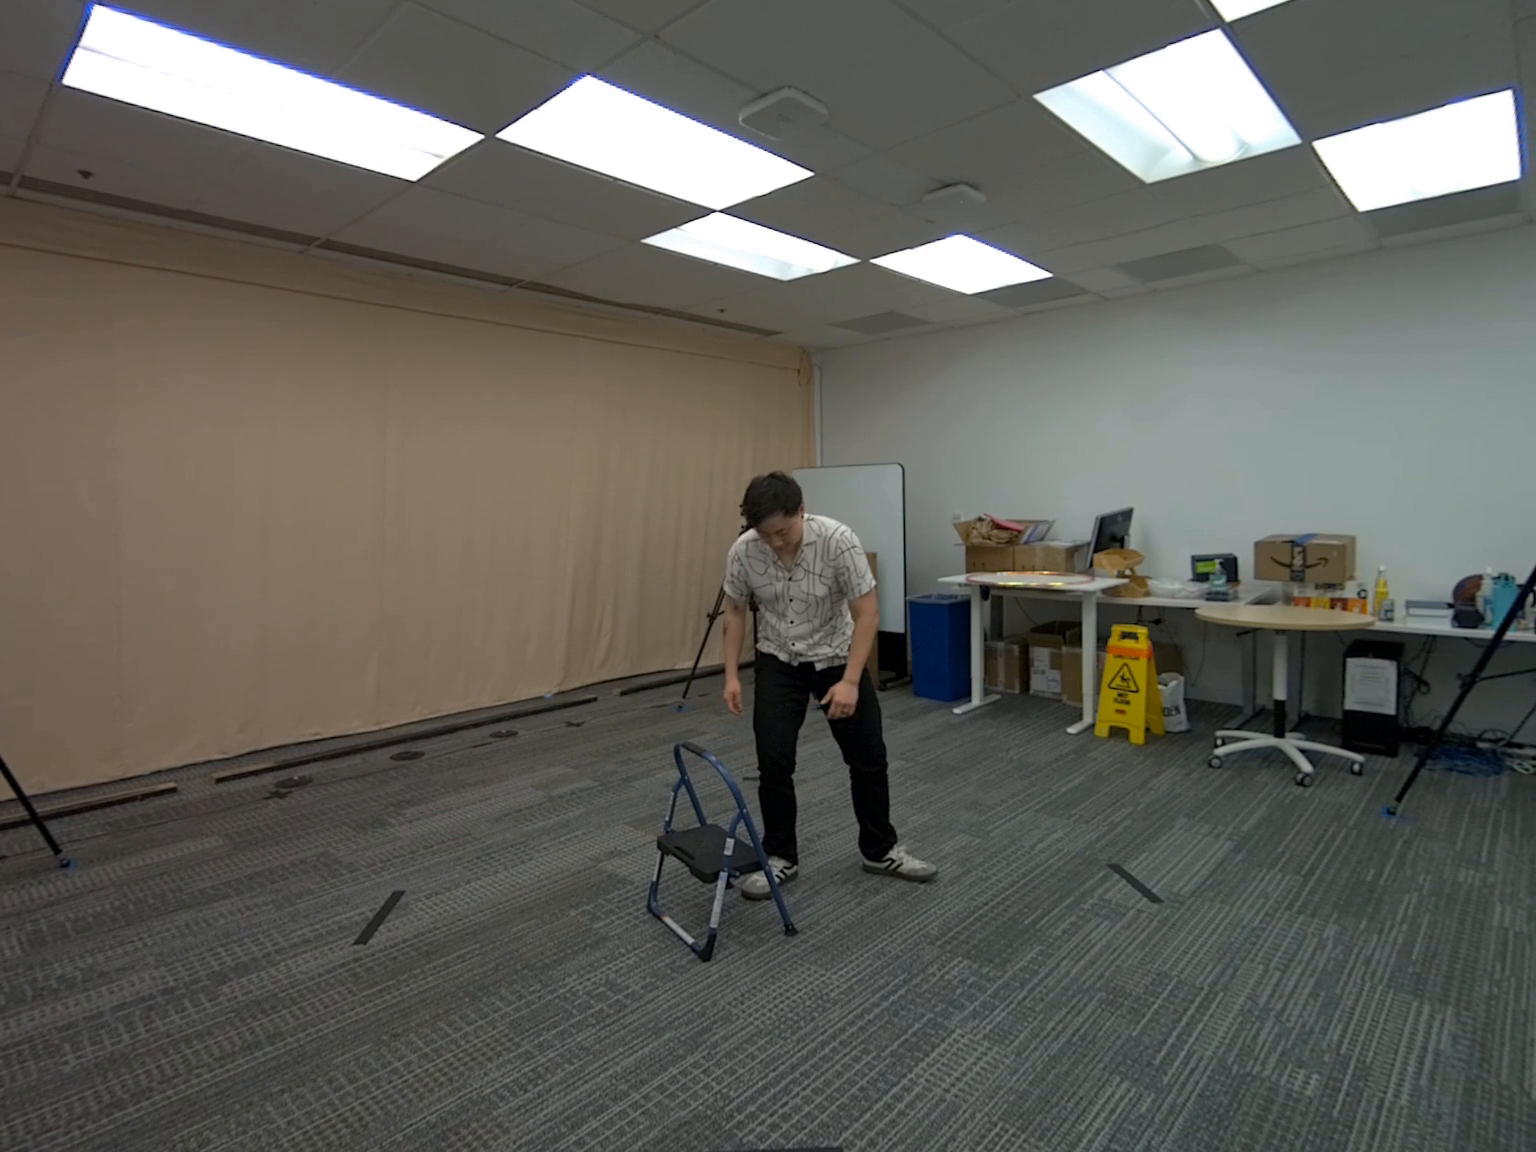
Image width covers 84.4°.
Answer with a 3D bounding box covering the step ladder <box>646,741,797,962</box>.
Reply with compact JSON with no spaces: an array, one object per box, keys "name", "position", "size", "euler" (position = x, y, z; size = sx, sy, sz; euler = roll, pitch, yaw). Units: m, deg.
[{"name":"step ladder","position":[-0.170,0.852,2.809],"size":[0.339,0.604,0.444],"euler":[-4,5,-33]}]
